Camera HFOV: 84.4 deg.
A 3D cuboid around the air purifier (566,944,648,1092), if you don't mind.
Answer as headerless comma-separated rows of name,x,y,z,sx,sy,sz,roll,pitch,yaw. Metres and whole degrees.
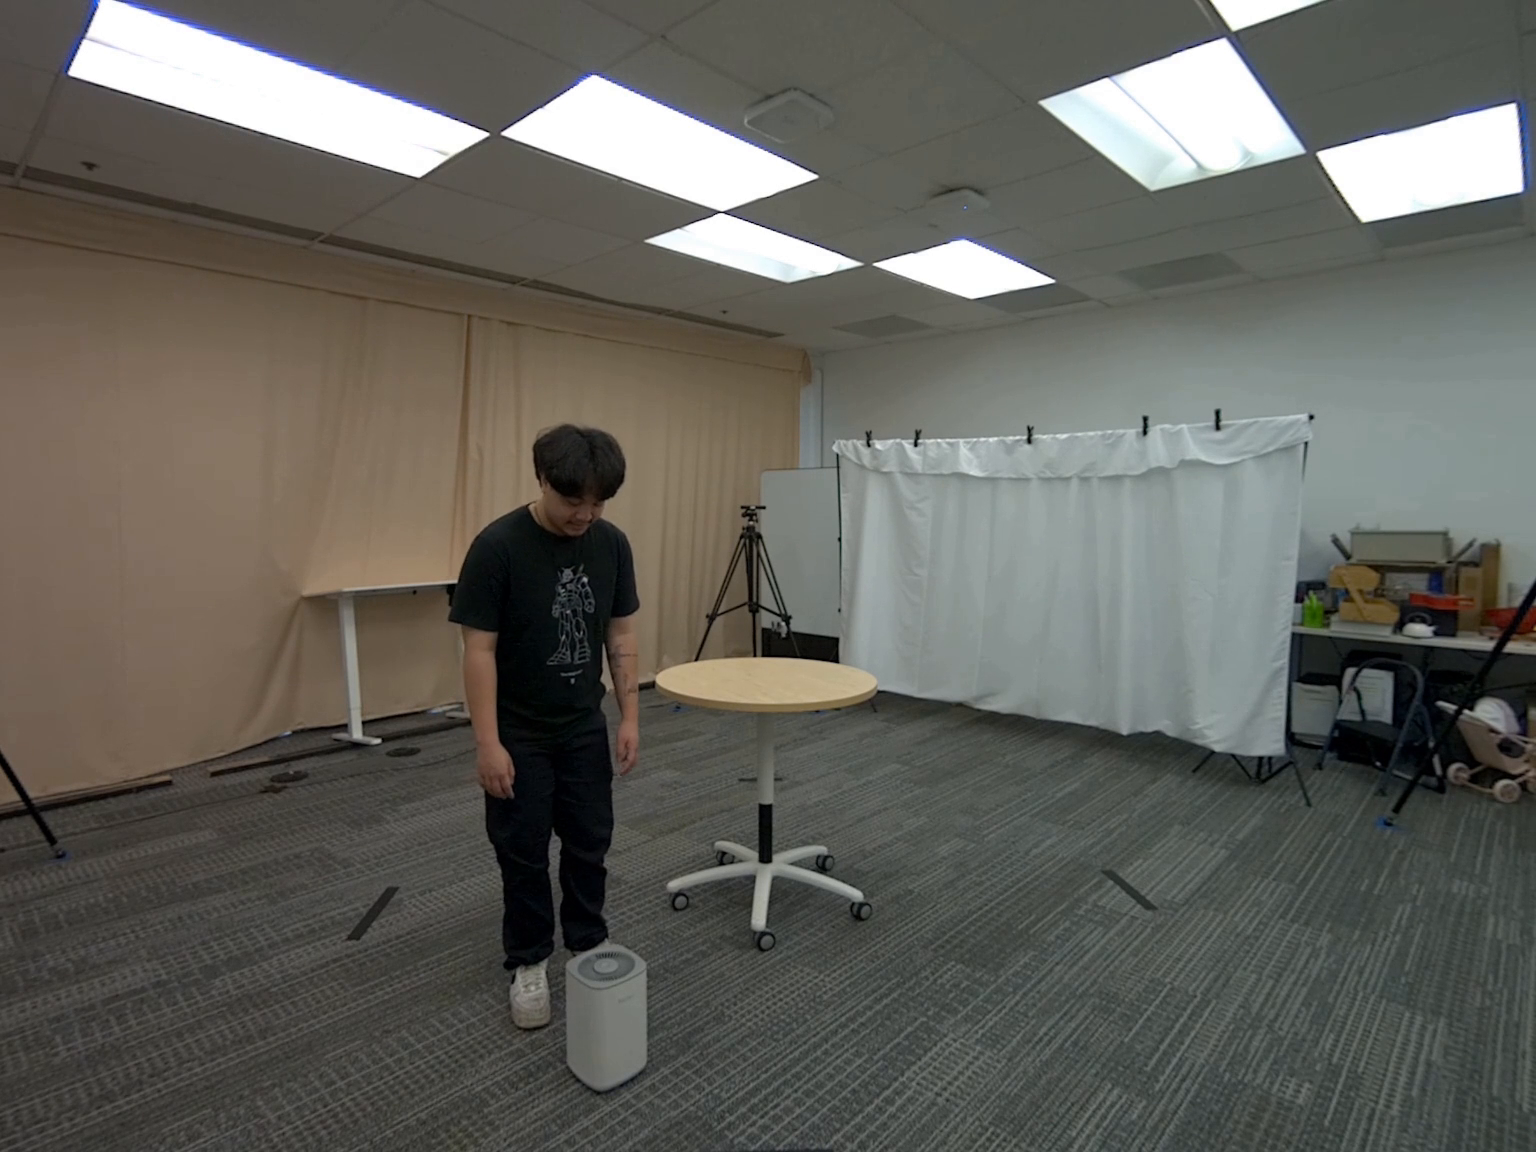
air purifier,-0.398,1.089,2.072,0.177,0.265,0.166,3,5,44
